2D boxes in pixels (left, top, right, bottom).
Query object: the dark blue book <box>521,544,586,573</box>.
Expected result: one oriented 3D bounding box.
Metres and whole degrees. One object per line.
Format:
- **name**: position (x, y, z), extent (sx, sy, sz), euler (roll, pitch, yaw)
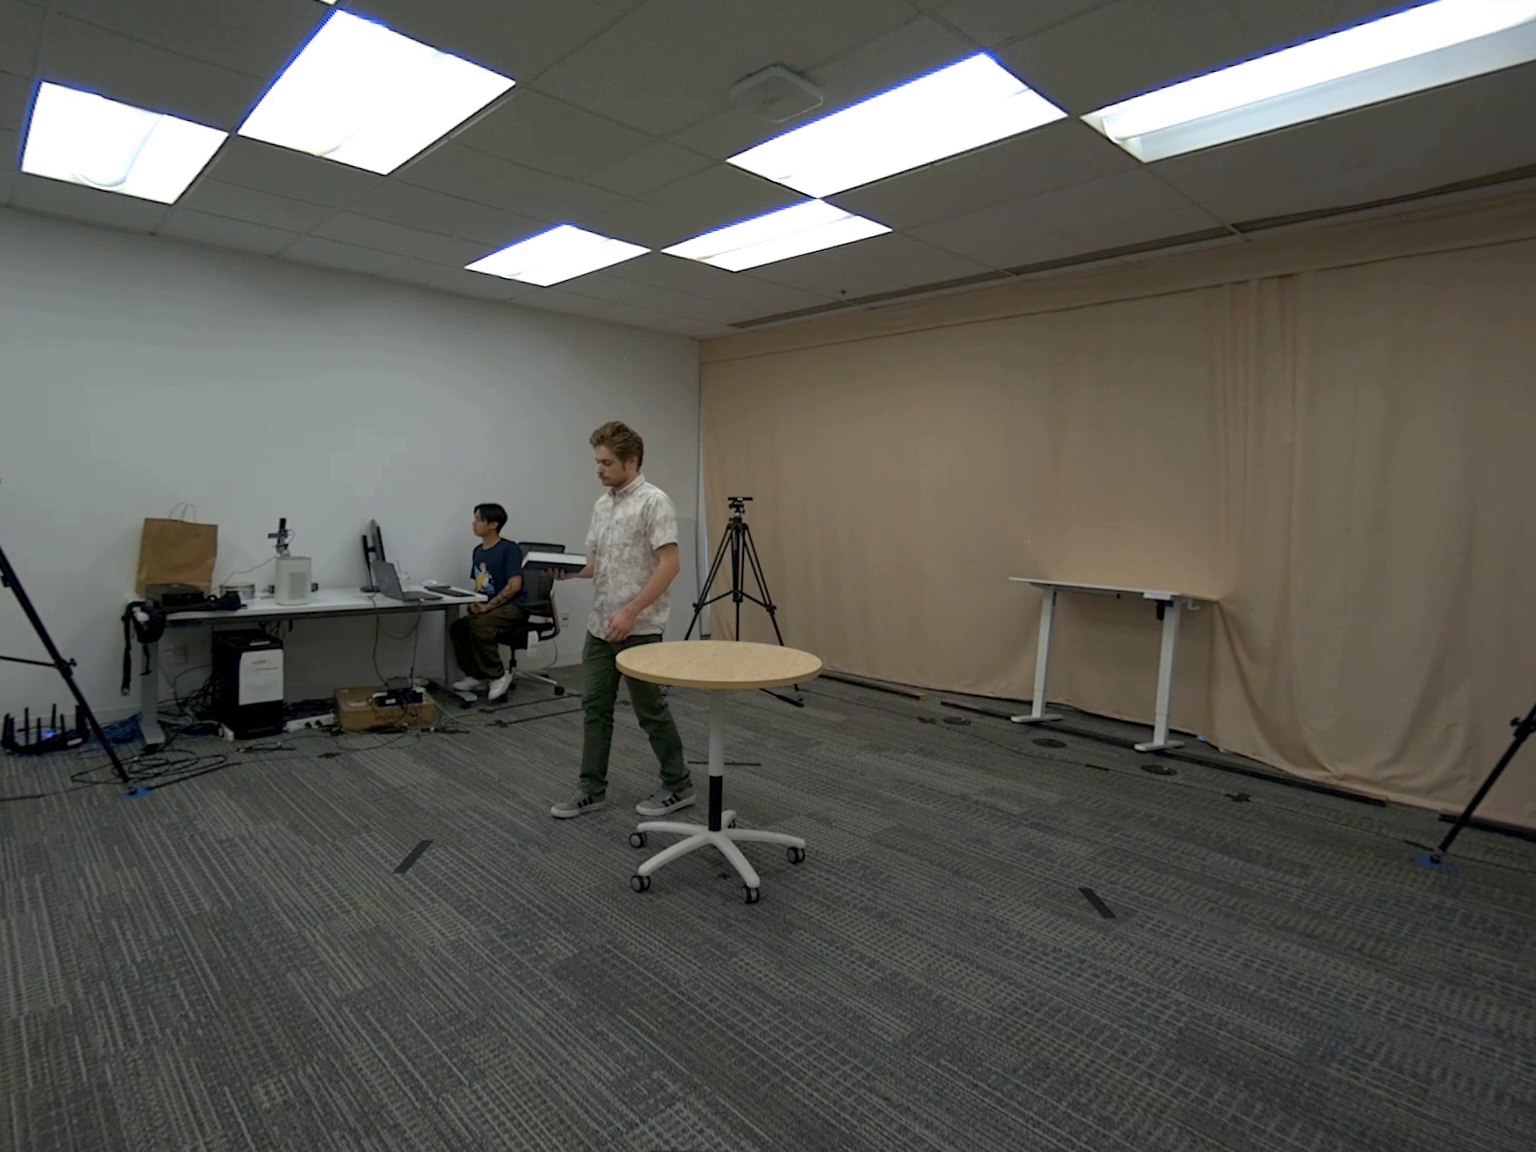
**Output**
- **dark blue book**: position (-0.914, -0.059, 3.519), extent (0.241, 0.046, 0.164), euler (5, -16, -22)
